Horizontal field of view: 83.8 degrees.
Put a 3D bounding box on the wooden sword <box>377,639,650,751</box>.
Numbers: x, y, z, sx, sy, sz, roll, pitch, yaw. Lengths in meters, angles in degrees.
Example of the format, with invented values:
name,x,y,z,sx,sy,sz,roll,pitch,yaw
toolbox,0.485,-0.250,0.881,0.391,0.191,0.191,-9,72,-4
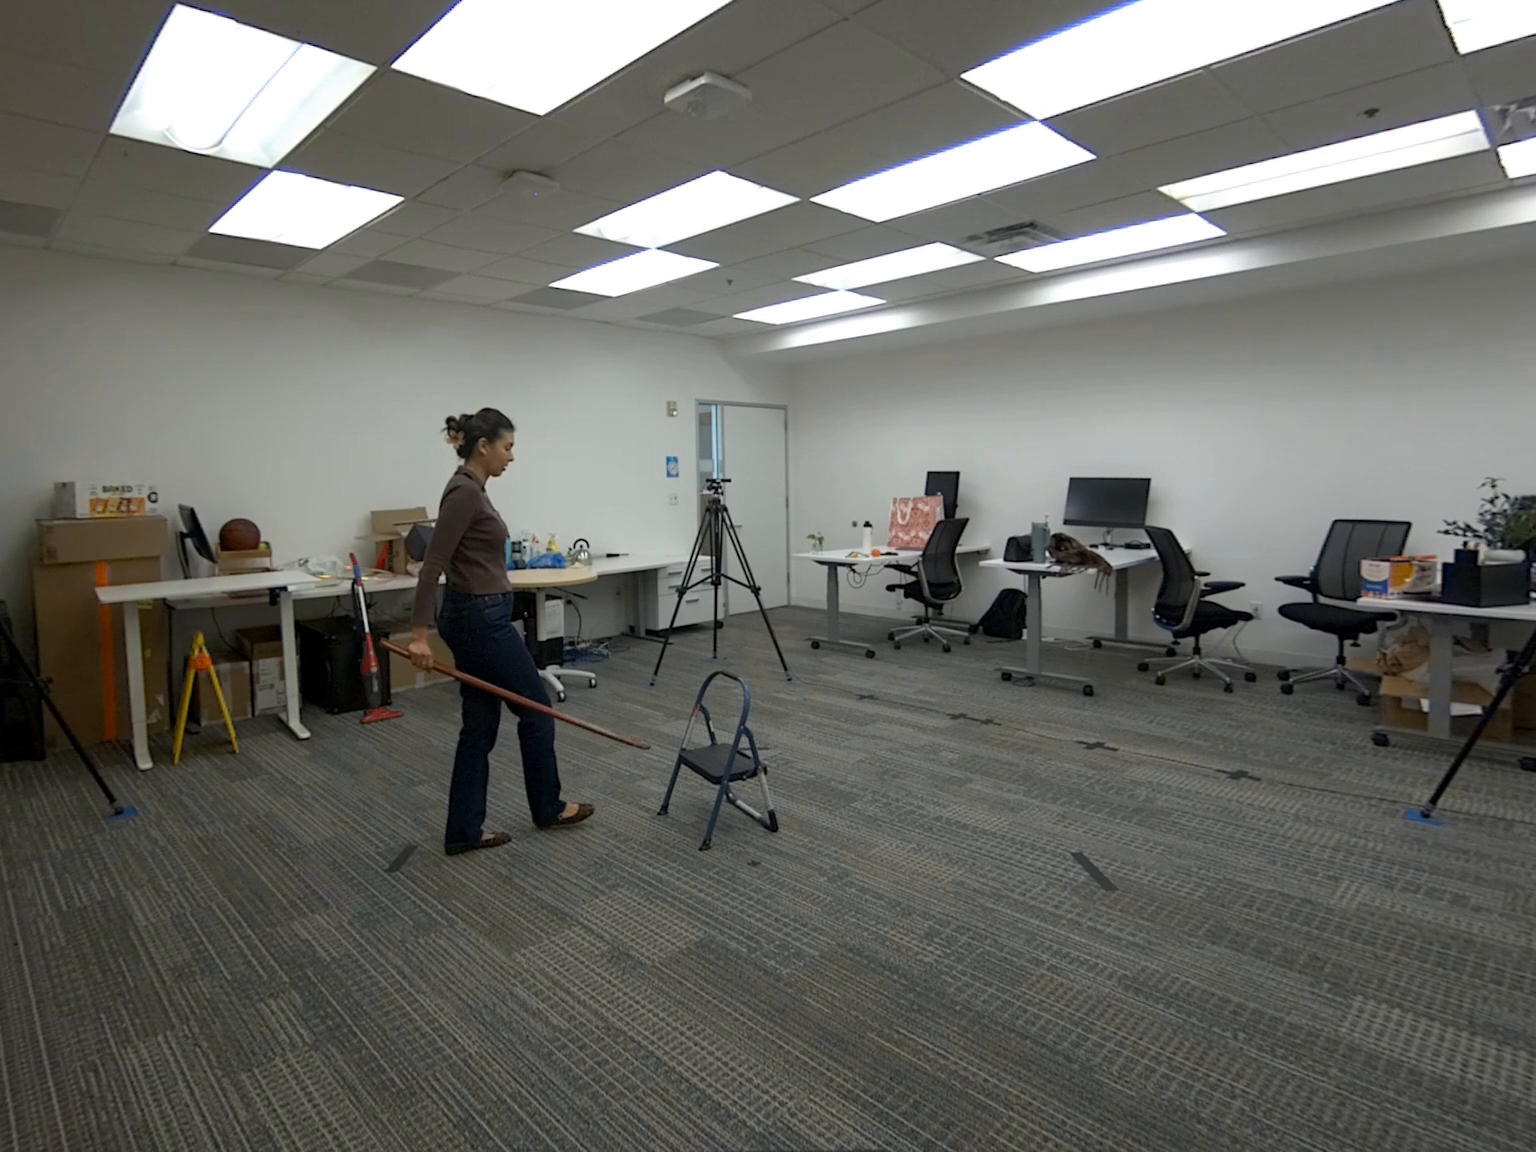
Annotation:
name,x,y,z,sx,sy,sz,roll,pitch,yaw
wooden sword,-0.877,0.440,3.049,1.007,0.024,0.052,24,37,-14
